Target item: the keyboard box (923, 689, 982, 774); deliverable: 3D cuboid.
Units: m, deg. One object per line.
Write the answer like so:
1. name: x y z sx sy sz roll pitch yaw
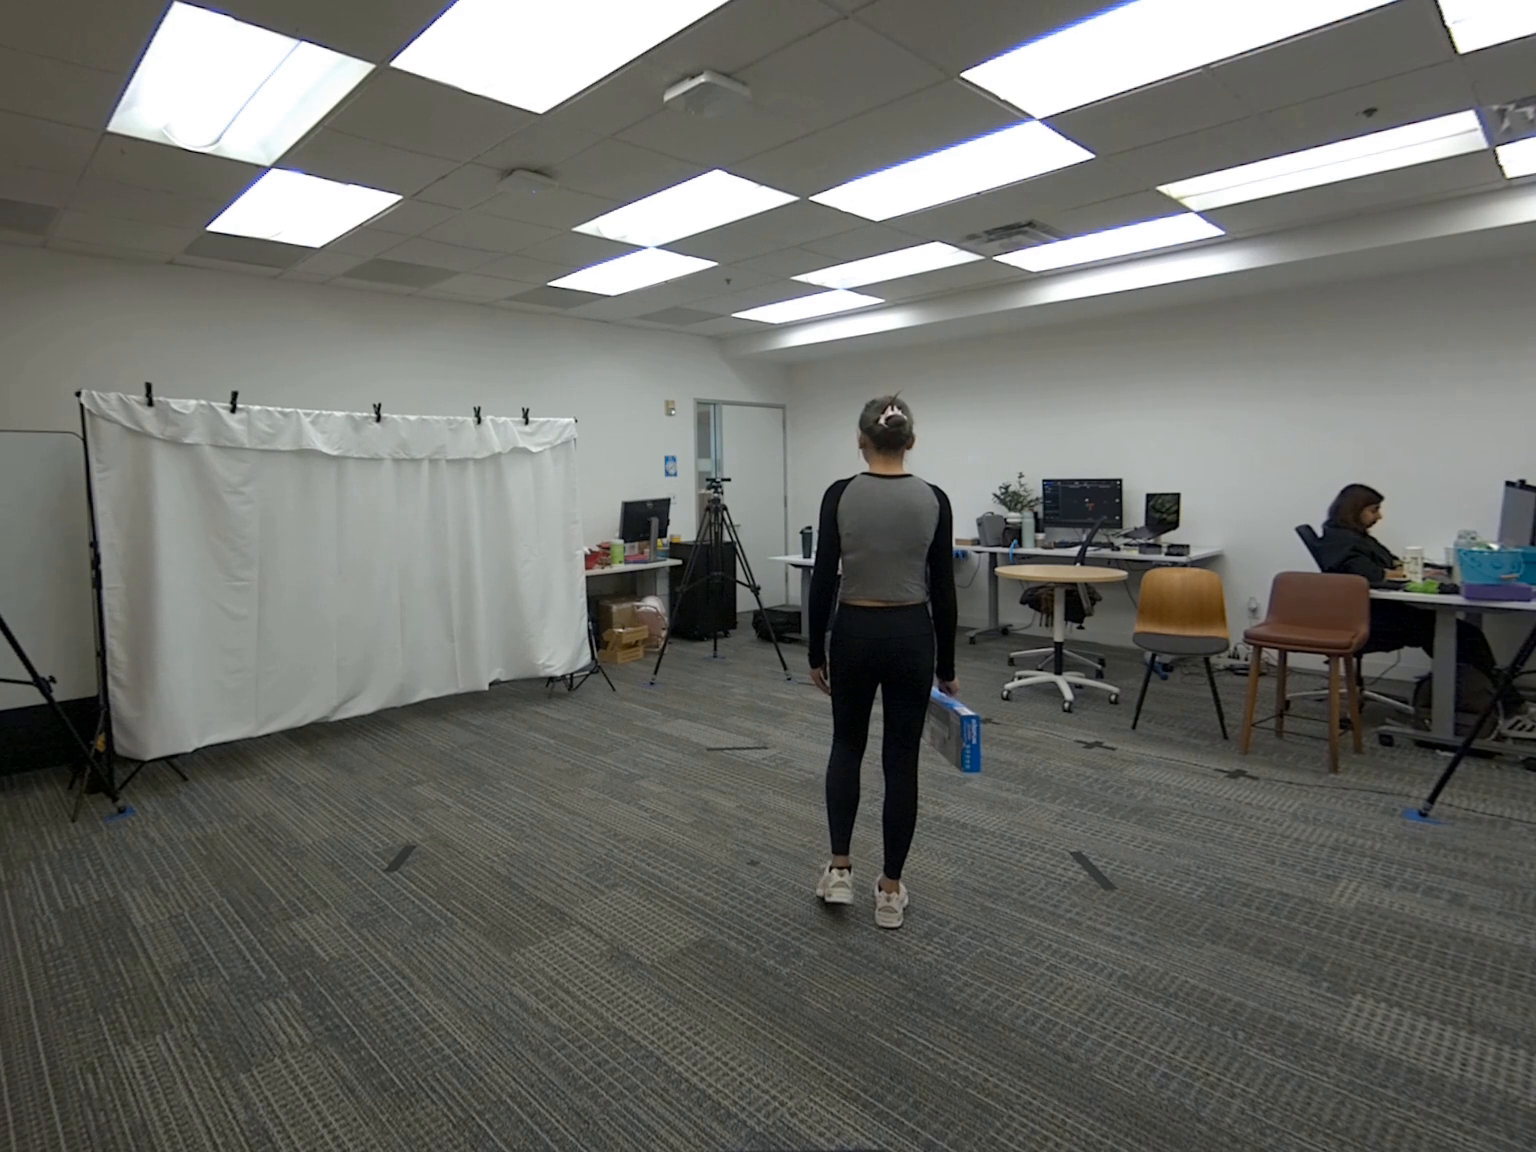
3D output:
1. keyboard box: 0.575 0.478 2.756 0.059 0.176 0.440 -1 3 -8
